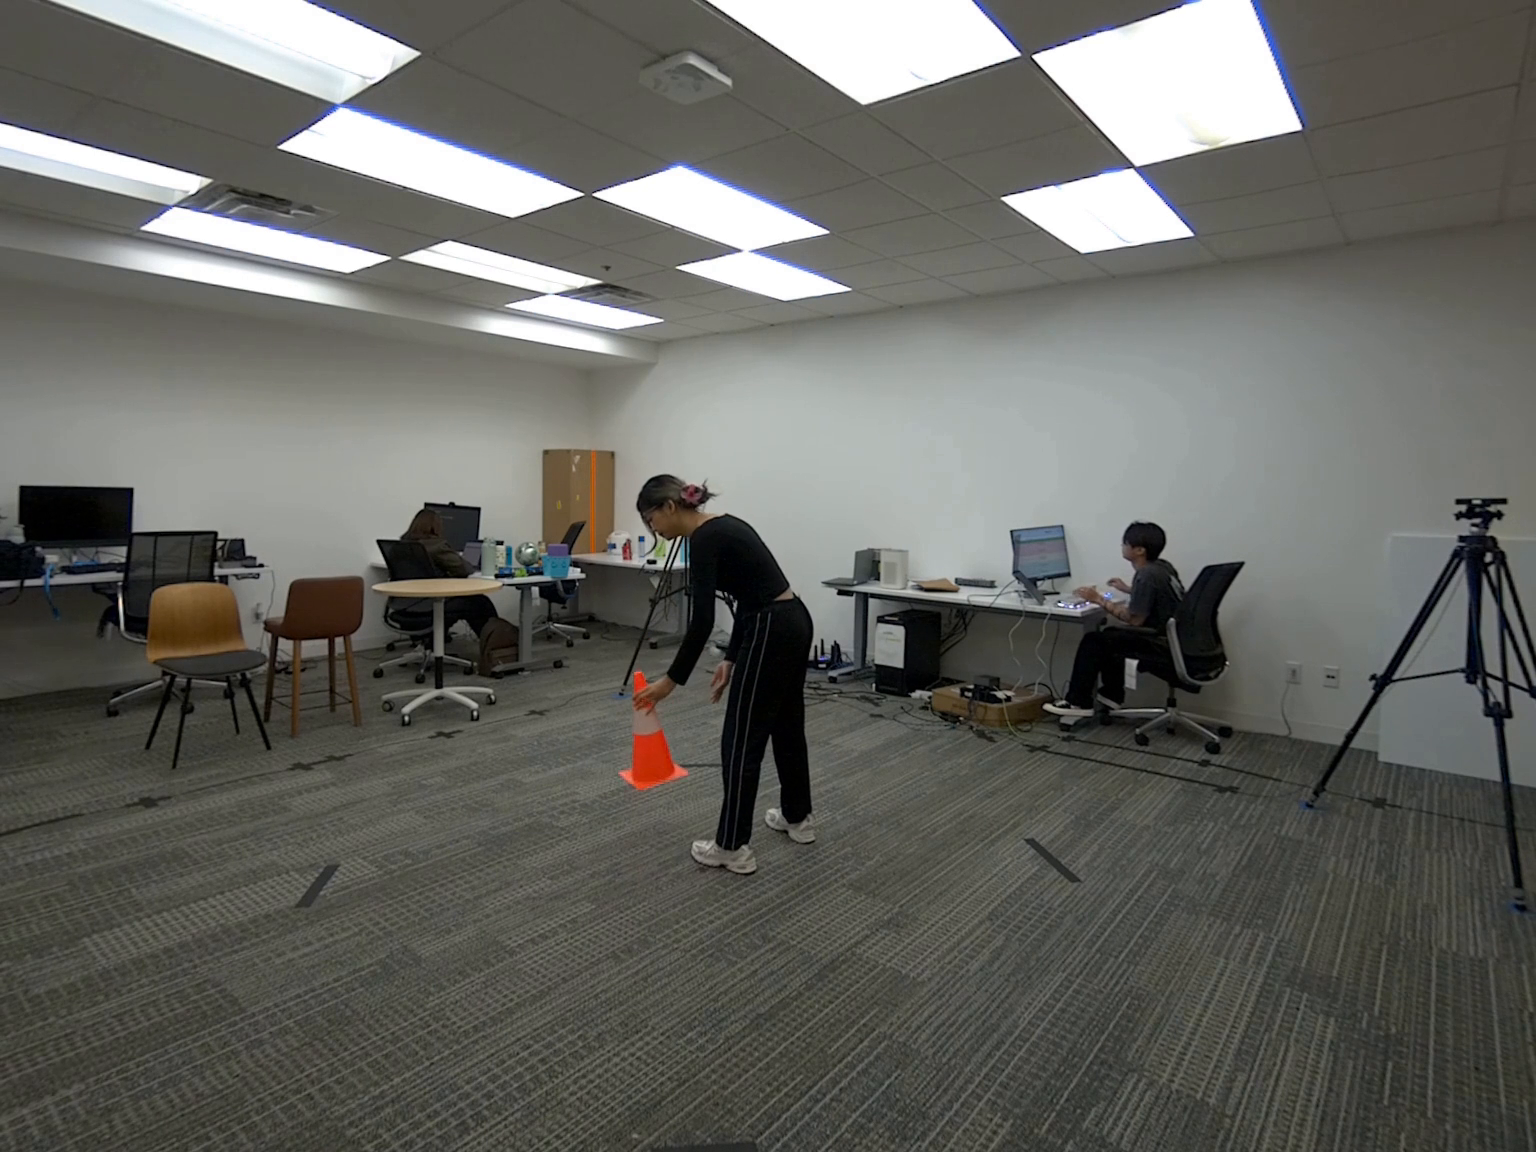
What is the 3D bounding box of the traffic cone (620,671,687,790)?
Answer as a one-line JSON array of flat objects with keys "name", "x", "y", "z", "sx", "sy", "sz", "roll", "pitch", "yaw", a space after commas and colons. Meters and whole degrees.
[{"name": "traffic cone", "x": -0.448, "y": 0.533, "z": 3.074, "sx": 0.199, "sy": 0.381, "sz": 0.210, "roll": -10, "pitch": 7, "yaw": -25}]
